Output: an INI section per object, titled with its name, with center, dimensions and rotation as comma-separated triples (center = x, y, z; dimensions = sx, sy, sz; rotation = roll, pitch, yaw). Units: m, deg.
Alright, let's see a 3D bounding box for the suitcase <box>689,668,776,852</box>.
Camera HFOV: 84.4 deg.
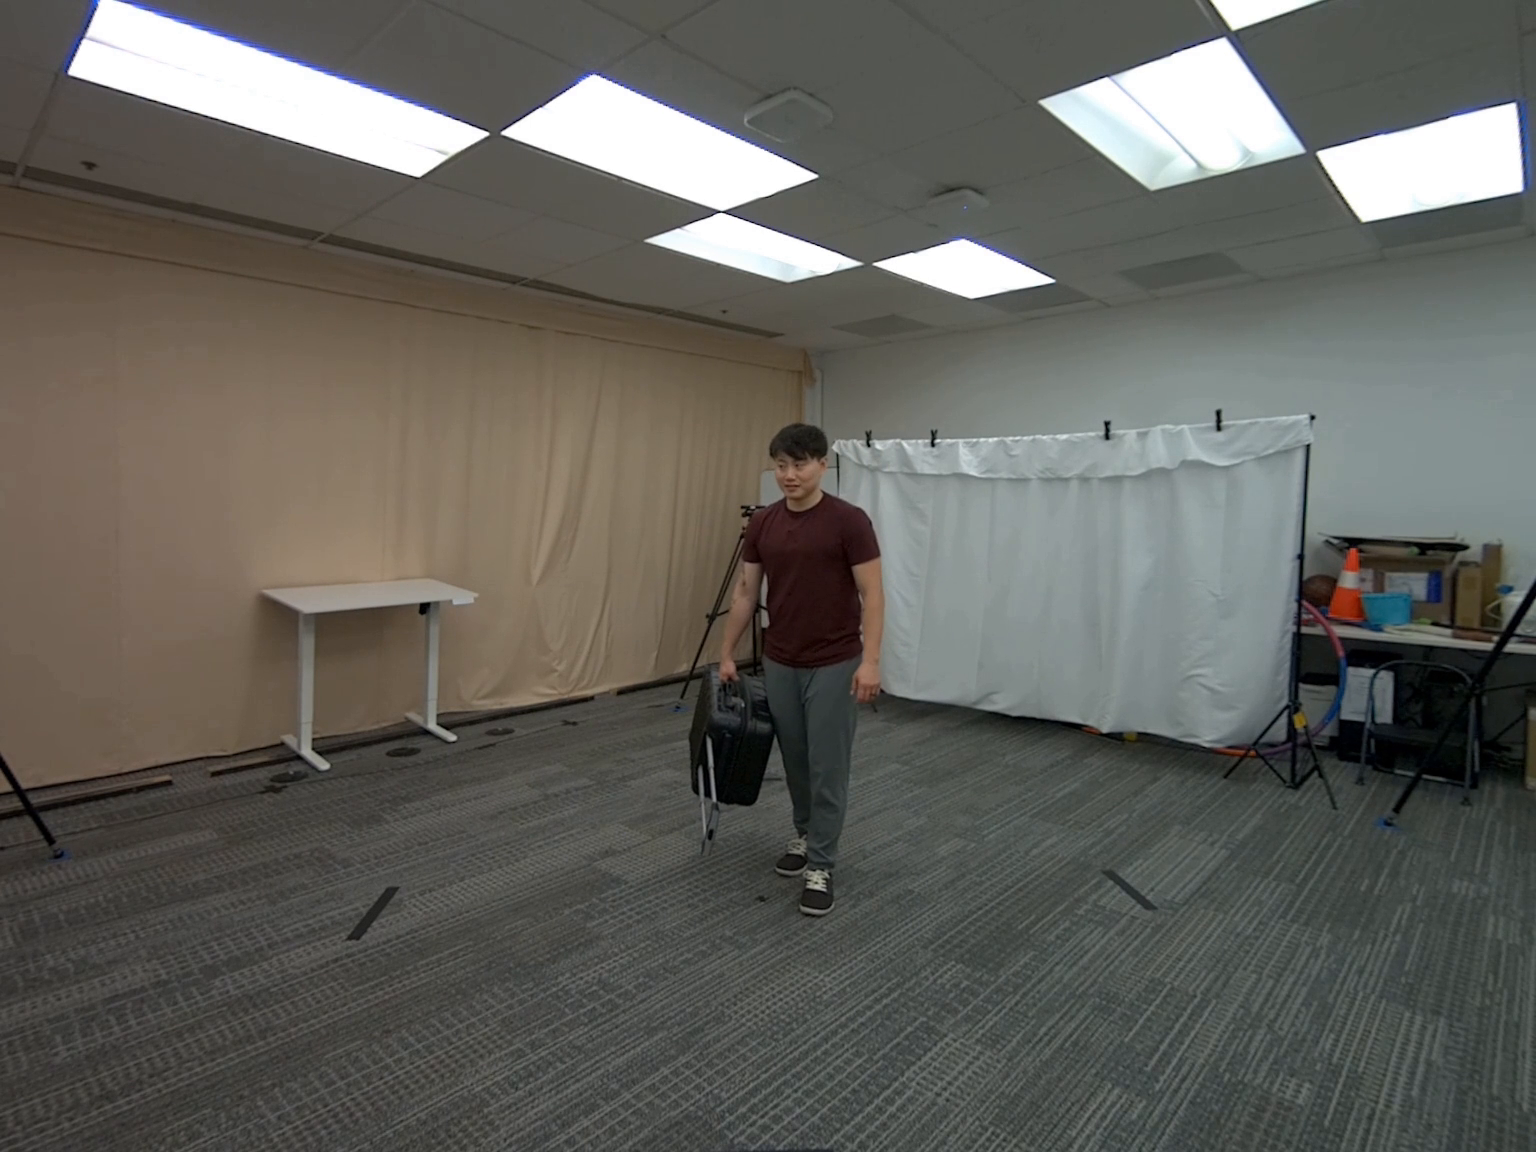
[suitcase]
center = -0.123, 0.643, 3.000
dimensions = 0.255, 0.382, 0.991
rotation = 11, 12, -9
